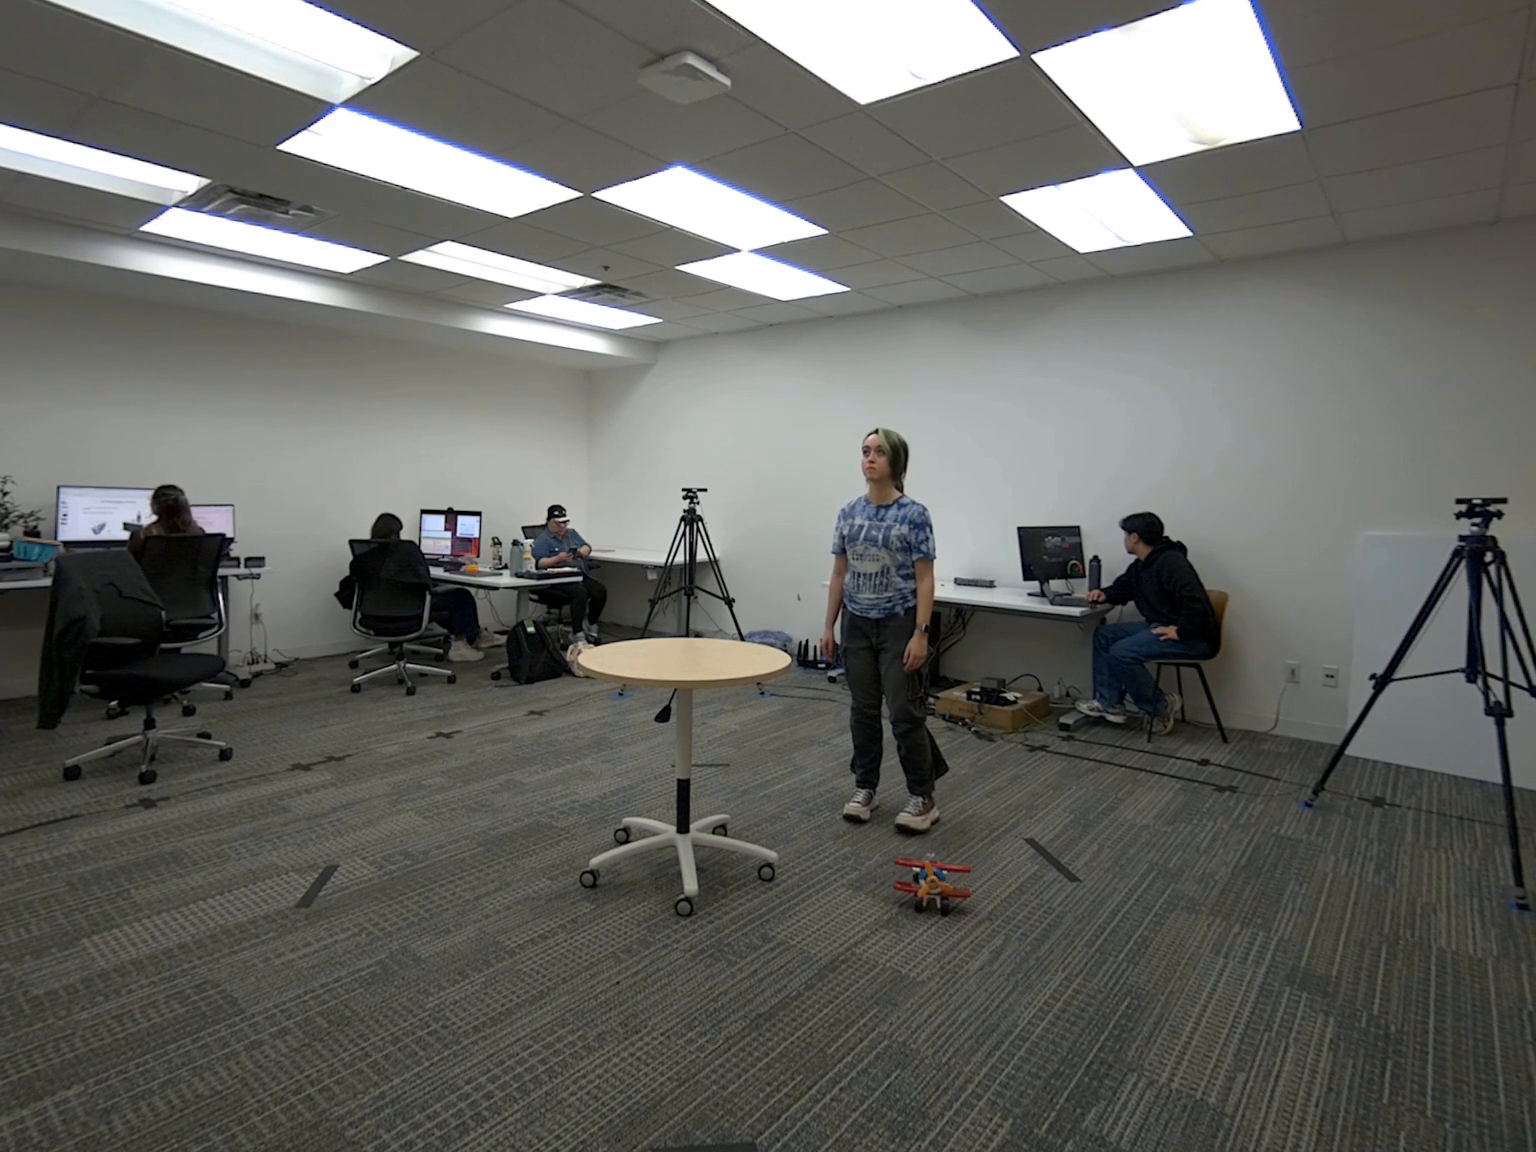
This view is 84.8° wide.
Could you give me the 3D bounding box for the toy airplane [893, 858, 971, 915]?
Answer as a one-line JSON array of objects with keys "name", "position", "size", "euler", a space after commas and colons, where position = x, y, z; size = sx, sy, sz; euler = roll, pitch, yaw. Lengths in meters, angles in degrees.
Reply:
[{"name": "toy airplane", "position": [0.531, 1.032, 2.914], "size": [0.246, 0.156, 0.265], "euler": [0, 6, -19]}]
